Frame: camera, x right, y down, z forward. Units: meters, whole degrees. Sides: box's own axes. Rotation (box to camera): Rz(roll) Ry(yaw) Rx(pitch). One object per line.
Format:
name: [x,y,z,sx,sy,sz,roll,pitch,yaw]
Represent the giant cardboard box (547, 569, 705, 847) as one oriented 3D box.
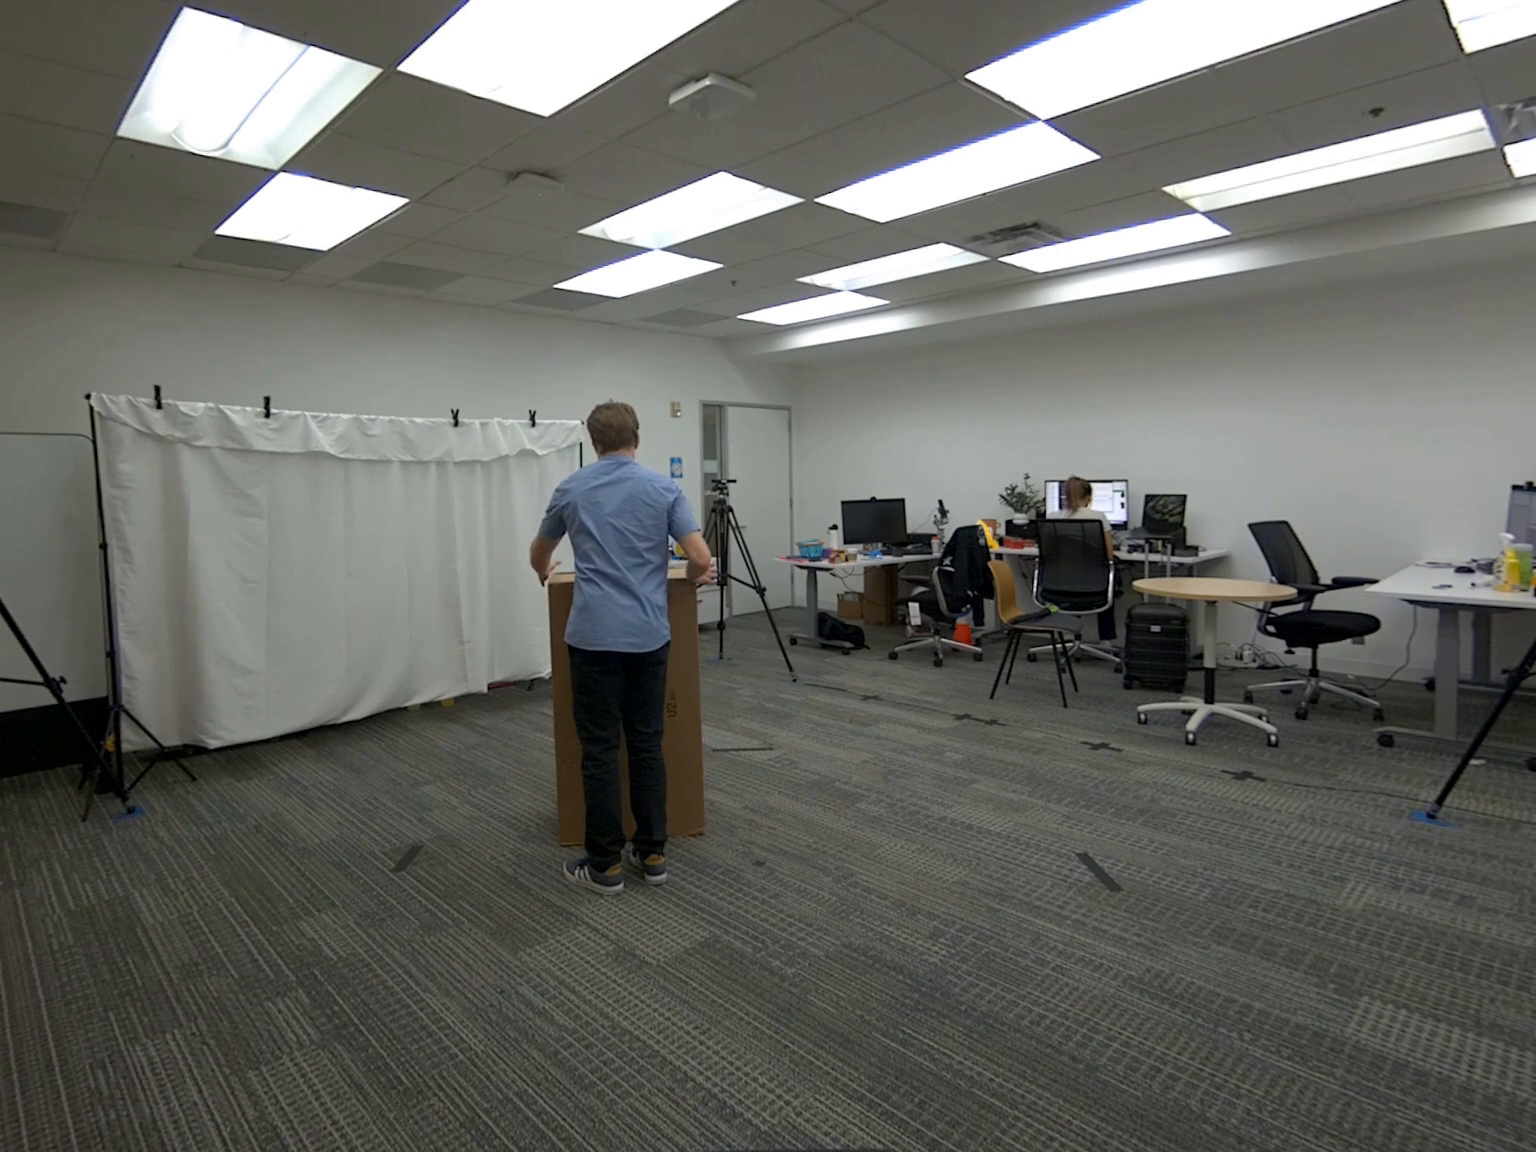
giant cardboard box: [-0.587,0.505,3.513,0.572,1.023,0.431,-3,3,-10]
